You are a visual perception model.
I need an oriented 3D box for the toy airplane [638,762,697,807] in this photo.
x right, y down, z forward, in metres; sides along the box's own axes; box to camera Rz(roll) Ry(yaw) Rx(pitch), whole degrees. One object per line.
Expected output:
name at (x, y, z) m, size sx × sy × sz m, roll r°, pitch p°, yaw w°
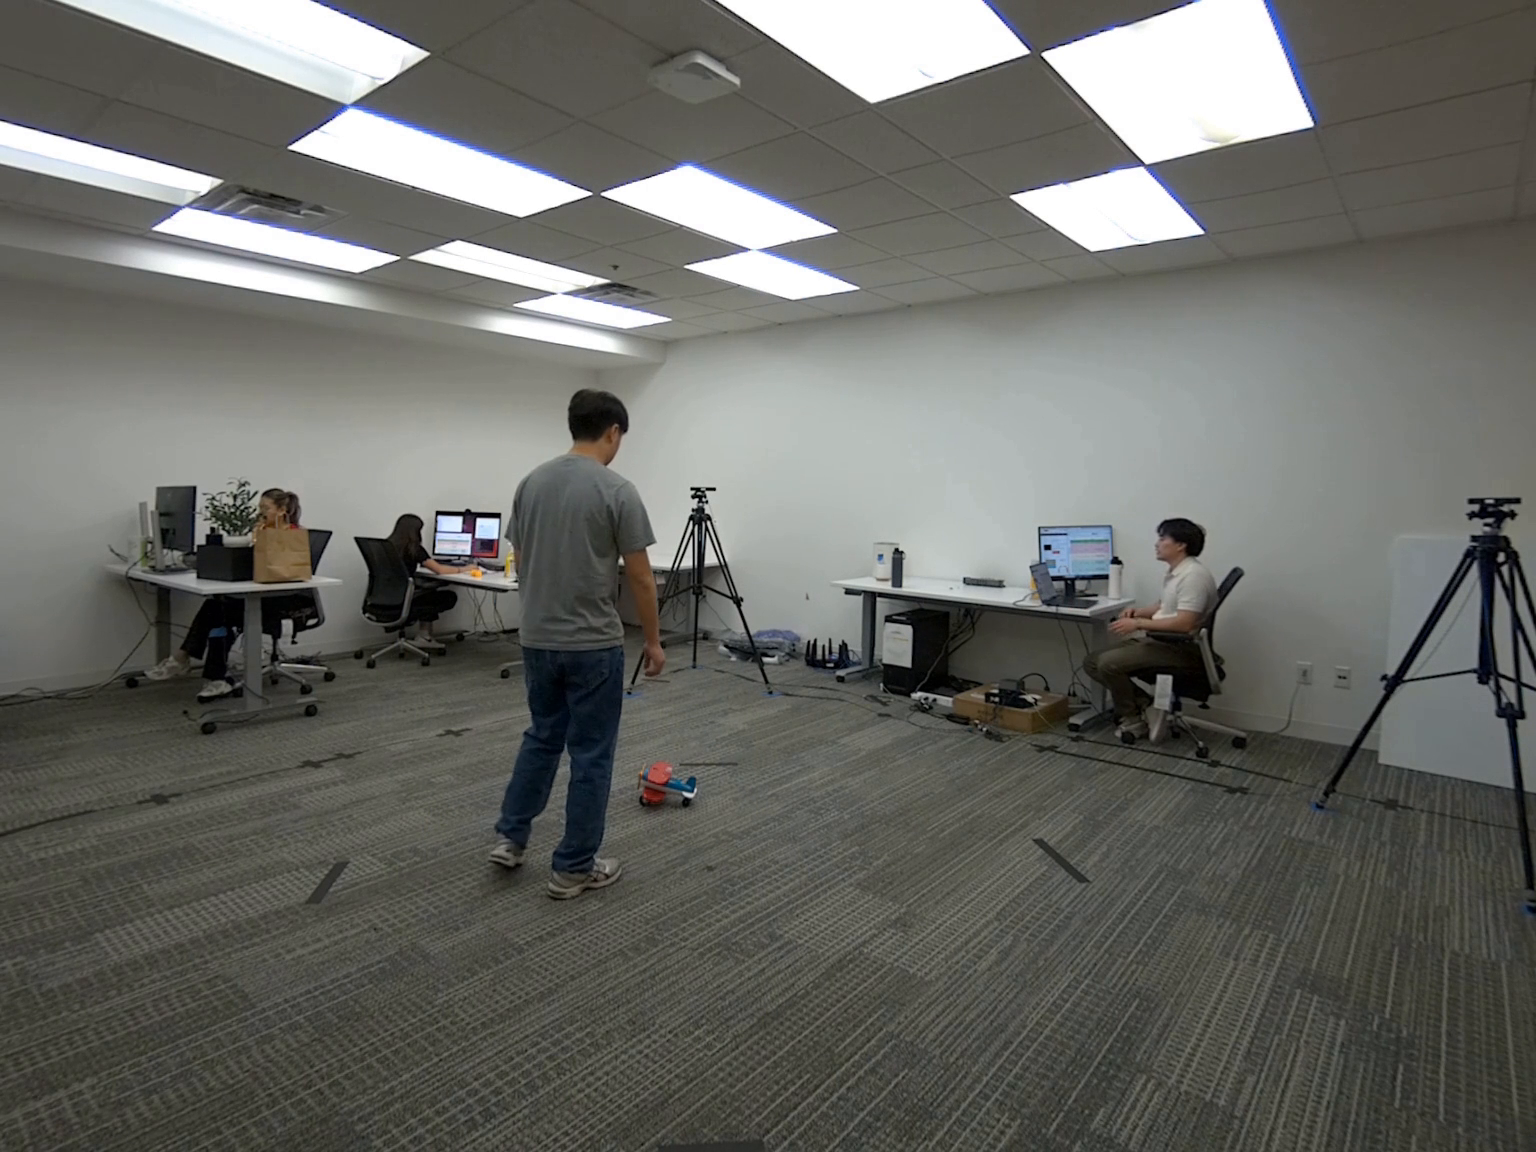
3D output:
toy airplane at (-0.461, 0.923, 3.760) m, size 0.254 × 0.156 × 0.257 m, roll -2°, pitch 5°, yaw -23°
